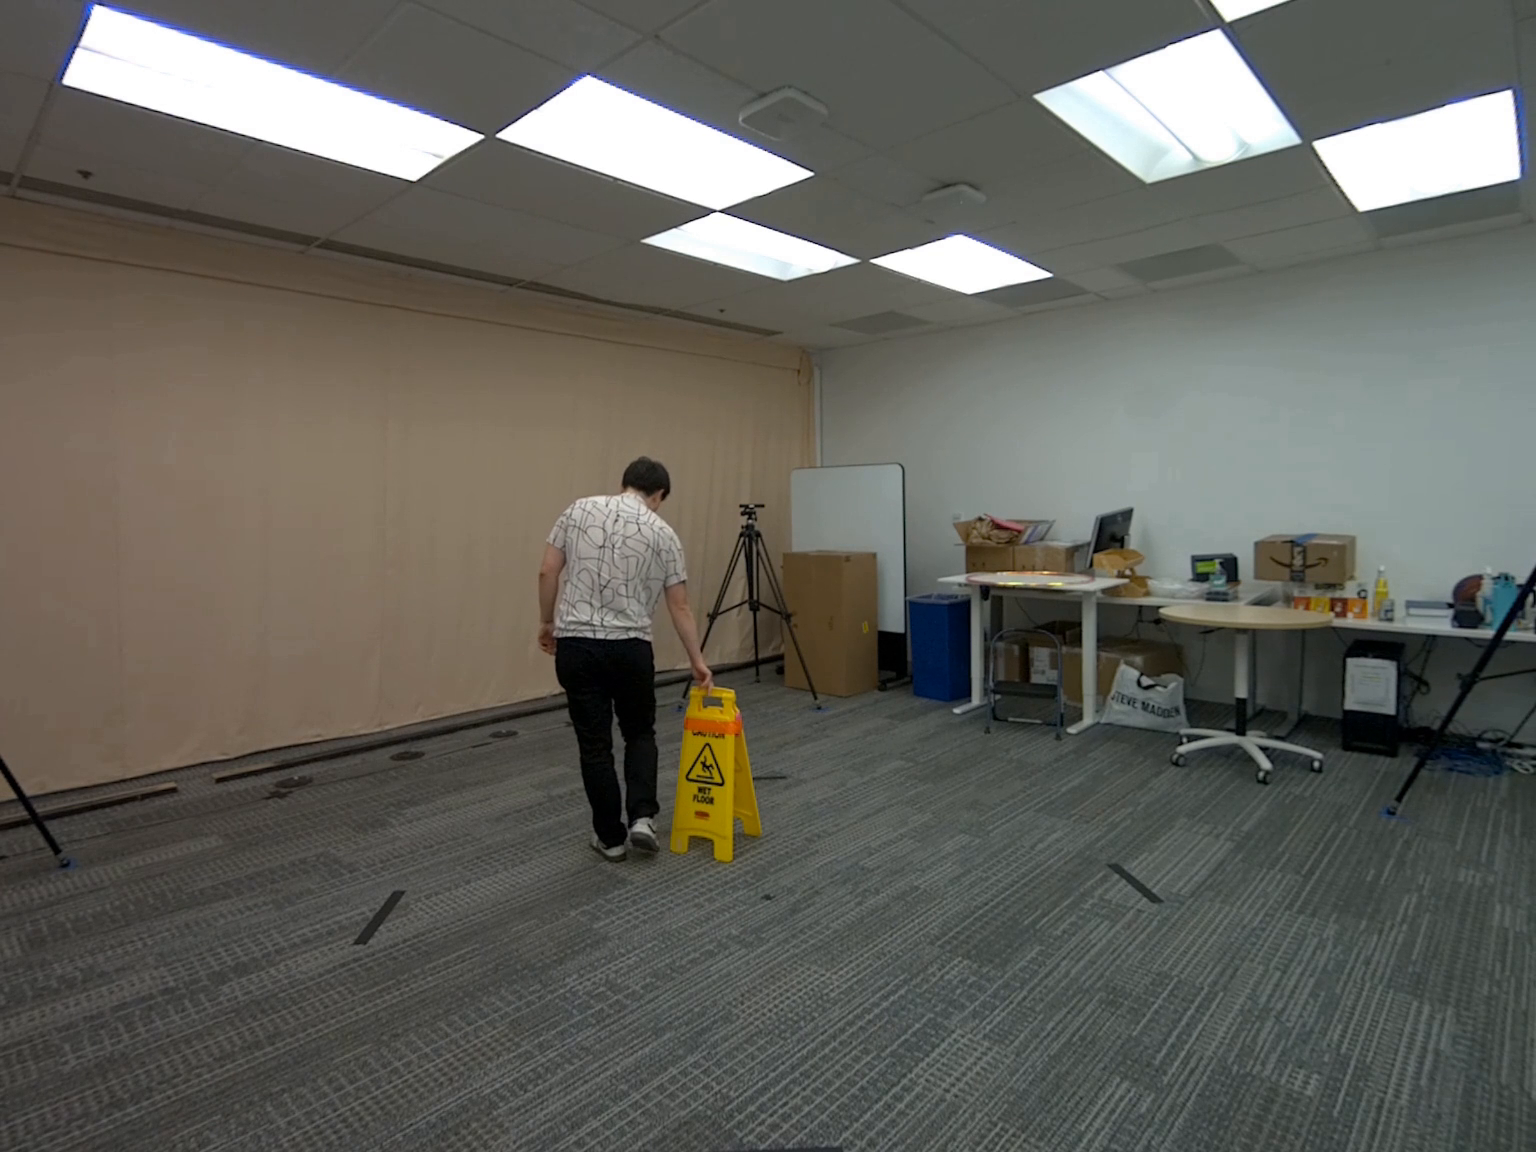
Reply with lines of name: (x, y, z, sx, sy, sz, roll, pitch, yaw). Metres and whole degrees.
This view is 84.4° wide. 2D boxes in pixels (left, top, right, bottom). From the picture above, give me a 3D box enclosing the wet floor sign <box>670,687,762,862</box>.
wet floor sign: (-0.219, 0.781, 3.453, 0.289, 0.644, 0.283, -1, 4, 25)
